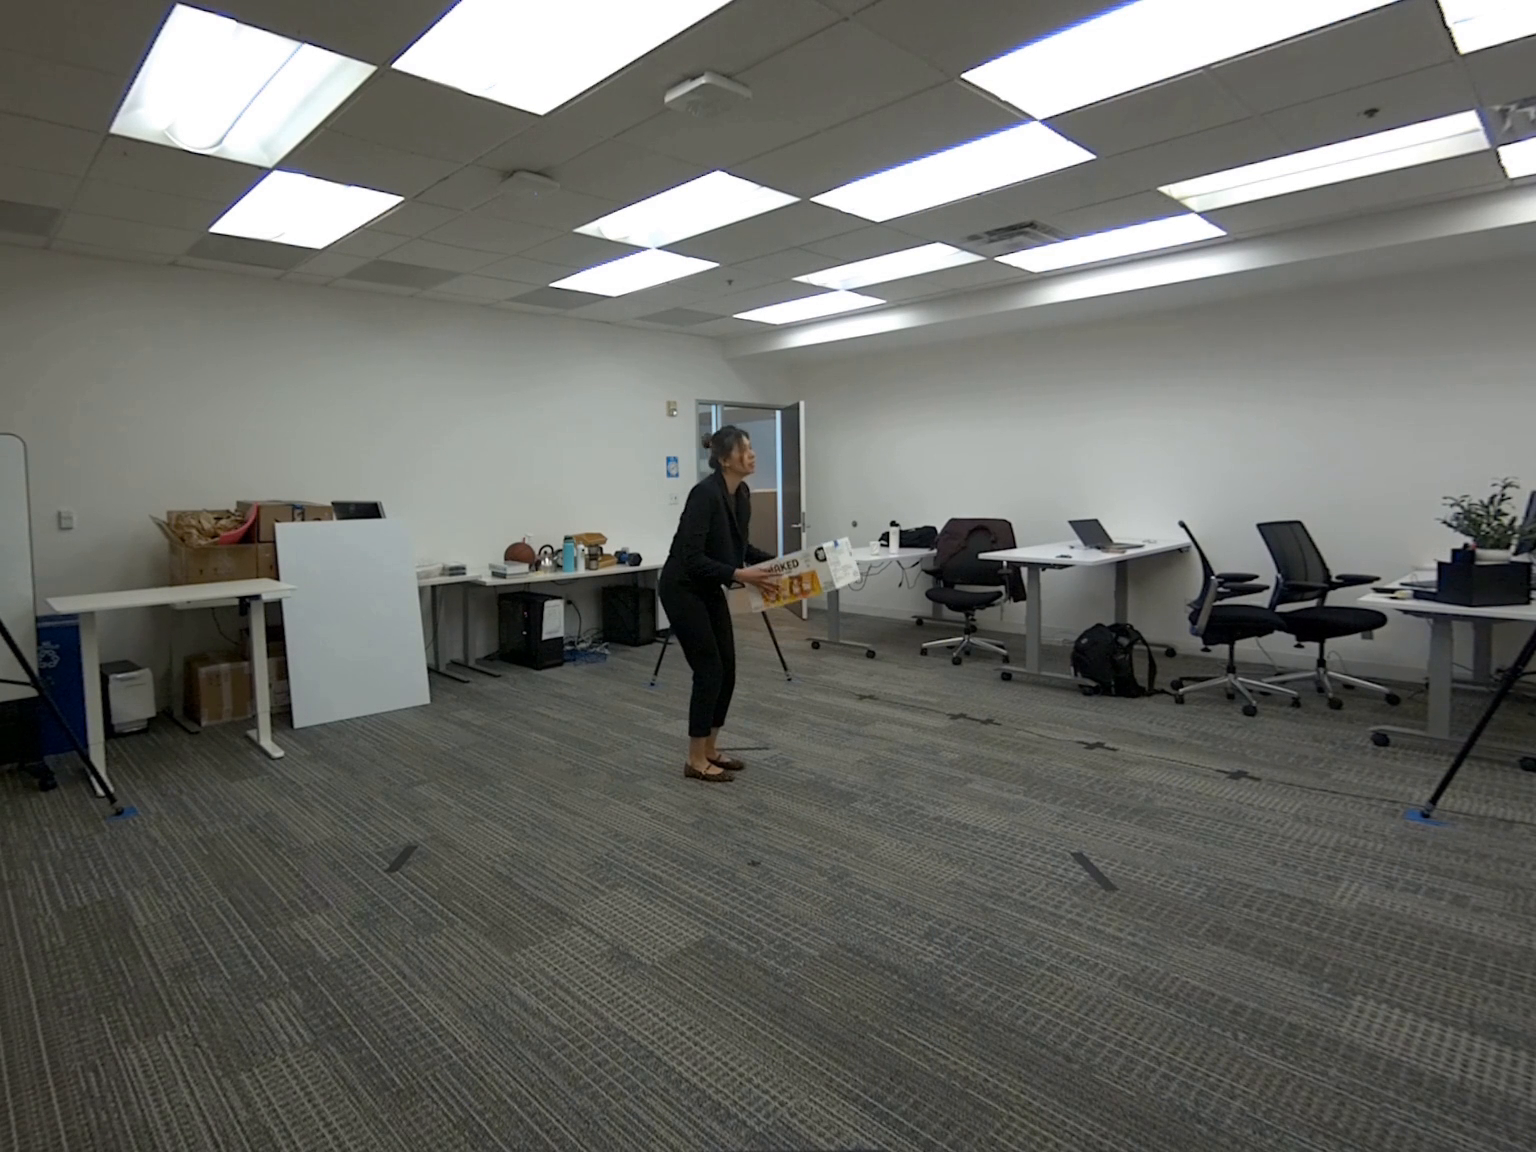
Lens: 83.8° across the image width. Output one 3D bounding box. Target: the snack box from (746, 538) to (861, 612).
[{"bbox_3d":[0.148,0.010,3.829,0.412,0.206,0.334,-15,1,26],"label":"snack box"}]
